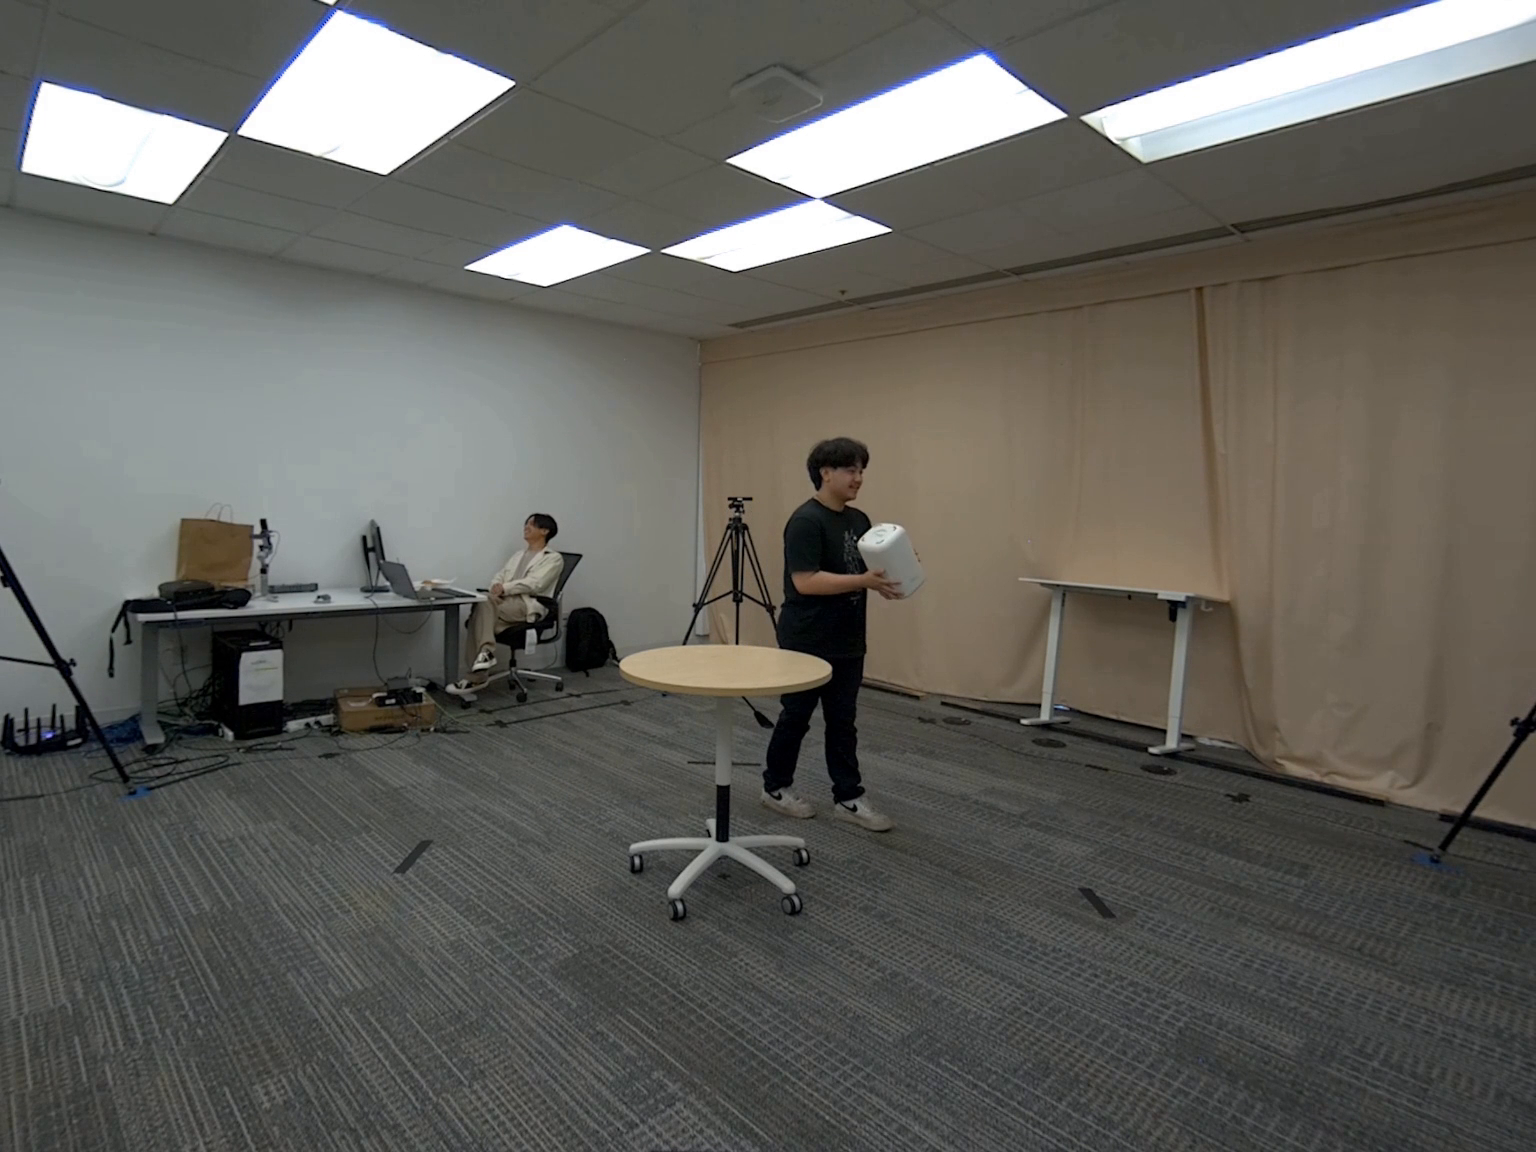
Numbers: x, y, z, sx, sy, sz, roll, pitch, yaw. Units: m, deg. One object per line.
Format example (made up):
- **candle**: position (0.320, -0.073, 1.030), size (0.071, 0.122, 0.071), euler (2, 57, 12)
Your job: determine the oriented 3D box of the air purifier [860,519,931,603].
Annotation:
- **air purifier**: position (0.493, -0.065, 3.408), size (0.171, 0.259, 0.176), euler (-43, 30, -26)
